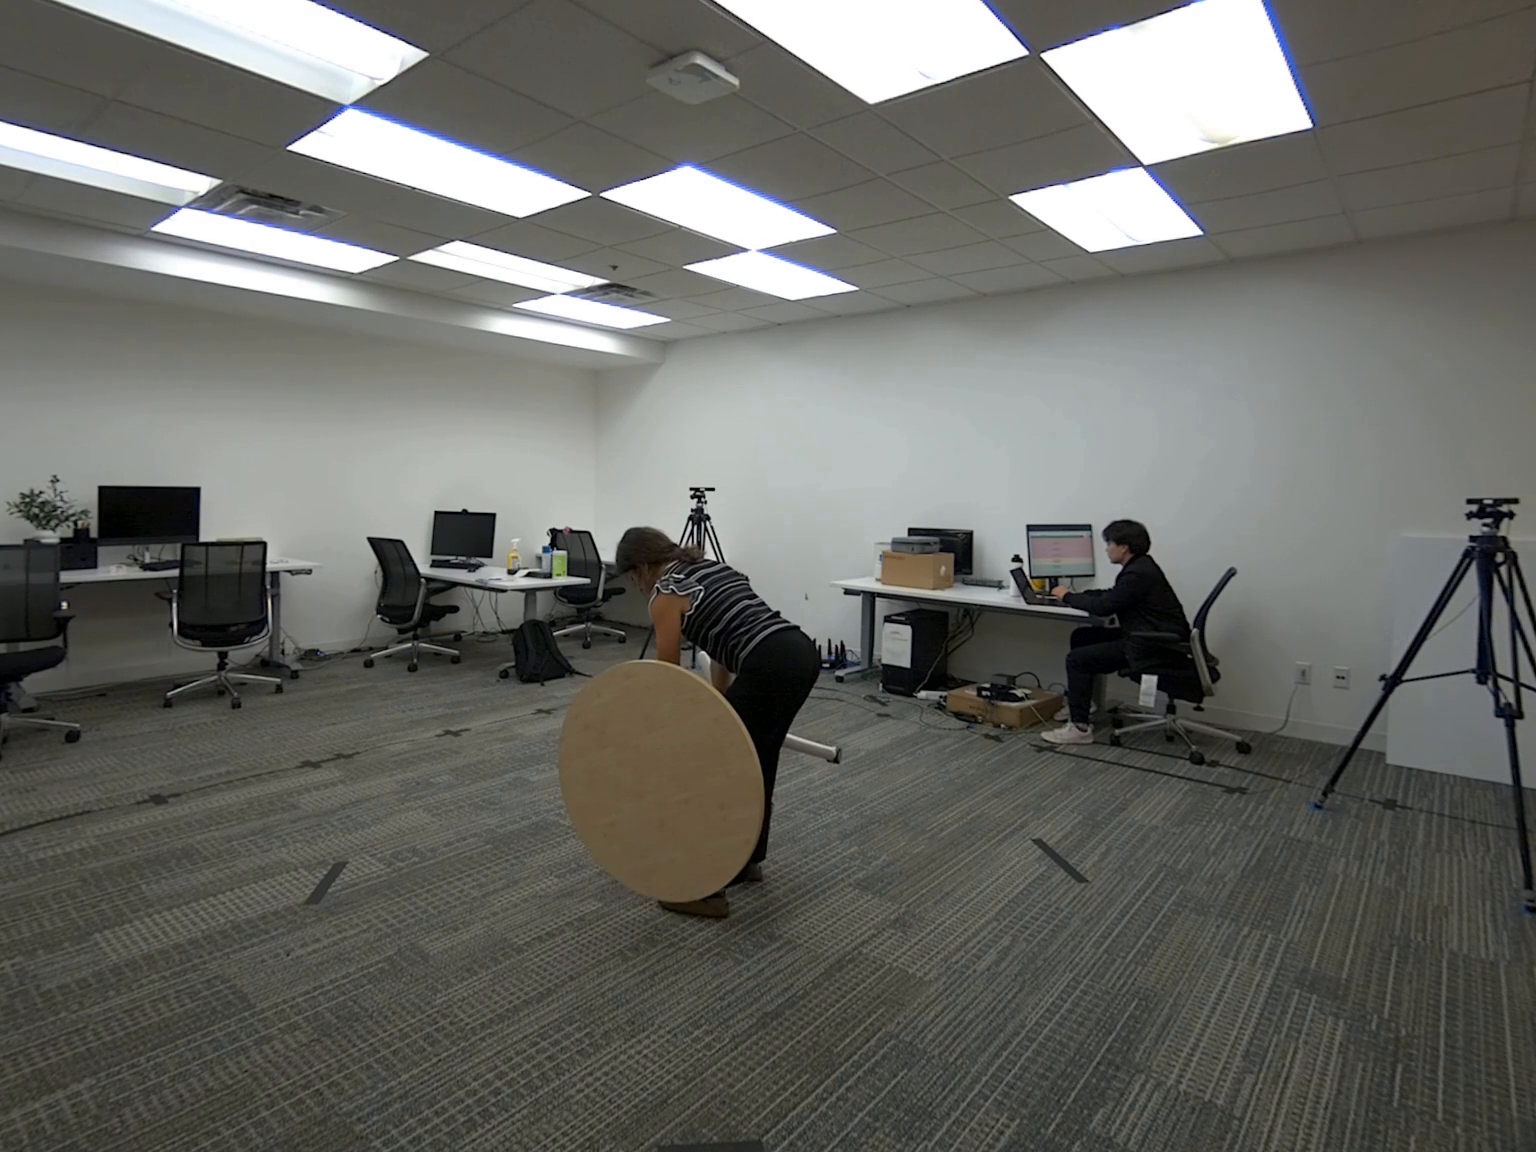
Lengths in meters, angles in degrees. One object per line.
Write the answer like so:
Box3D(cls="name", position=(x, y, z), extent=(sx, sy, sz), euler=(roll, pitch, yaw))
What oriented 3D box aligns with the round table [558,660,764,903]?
Box3D(cls="round table", position=(-0.207, 0.619, 3.052), extent=(0.785, 0.761, 0.775), euler=(3, 5, 27))
